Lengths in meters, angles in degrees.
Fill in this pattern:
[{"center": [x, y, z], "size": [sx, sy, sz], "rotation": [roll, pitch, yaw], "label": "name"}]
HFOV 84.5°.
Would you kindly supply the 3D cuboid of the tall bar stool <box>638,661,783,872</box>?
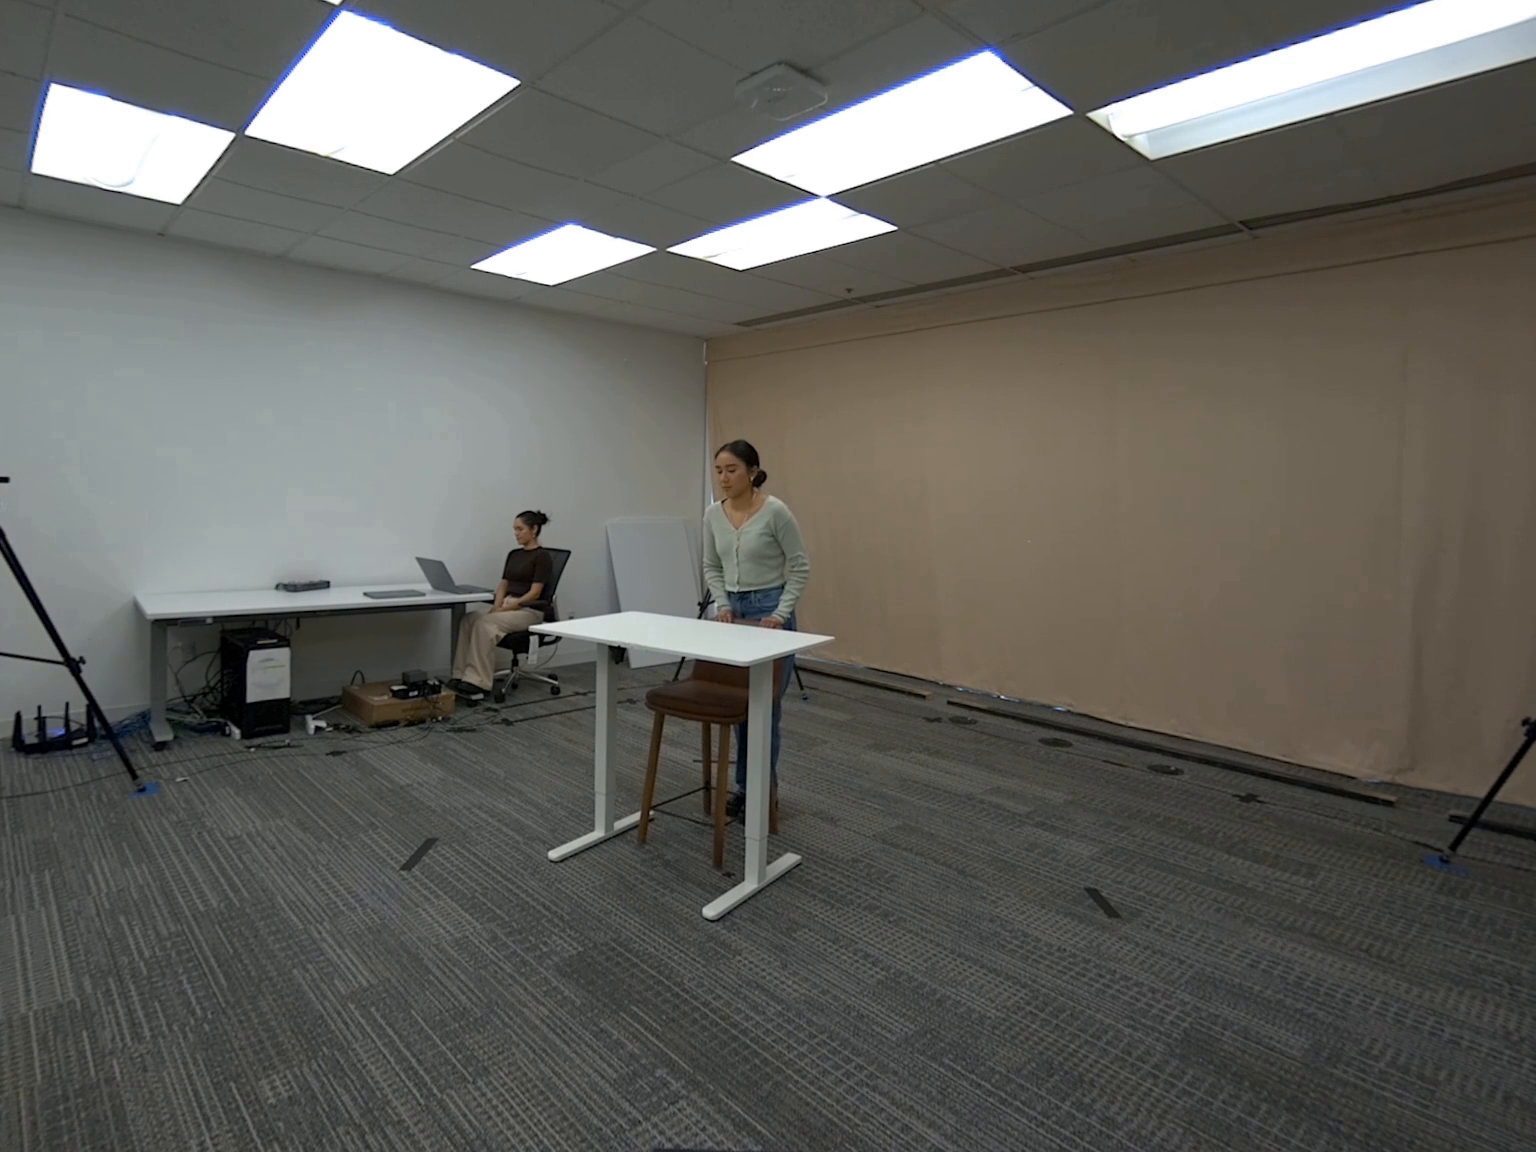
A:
[{"center": [-0.226, 0.640, 3.415], "size": [0.467, 0.889, 0.457], "rotation": [3, 2, 34], "label": "tall bar stool"}]
